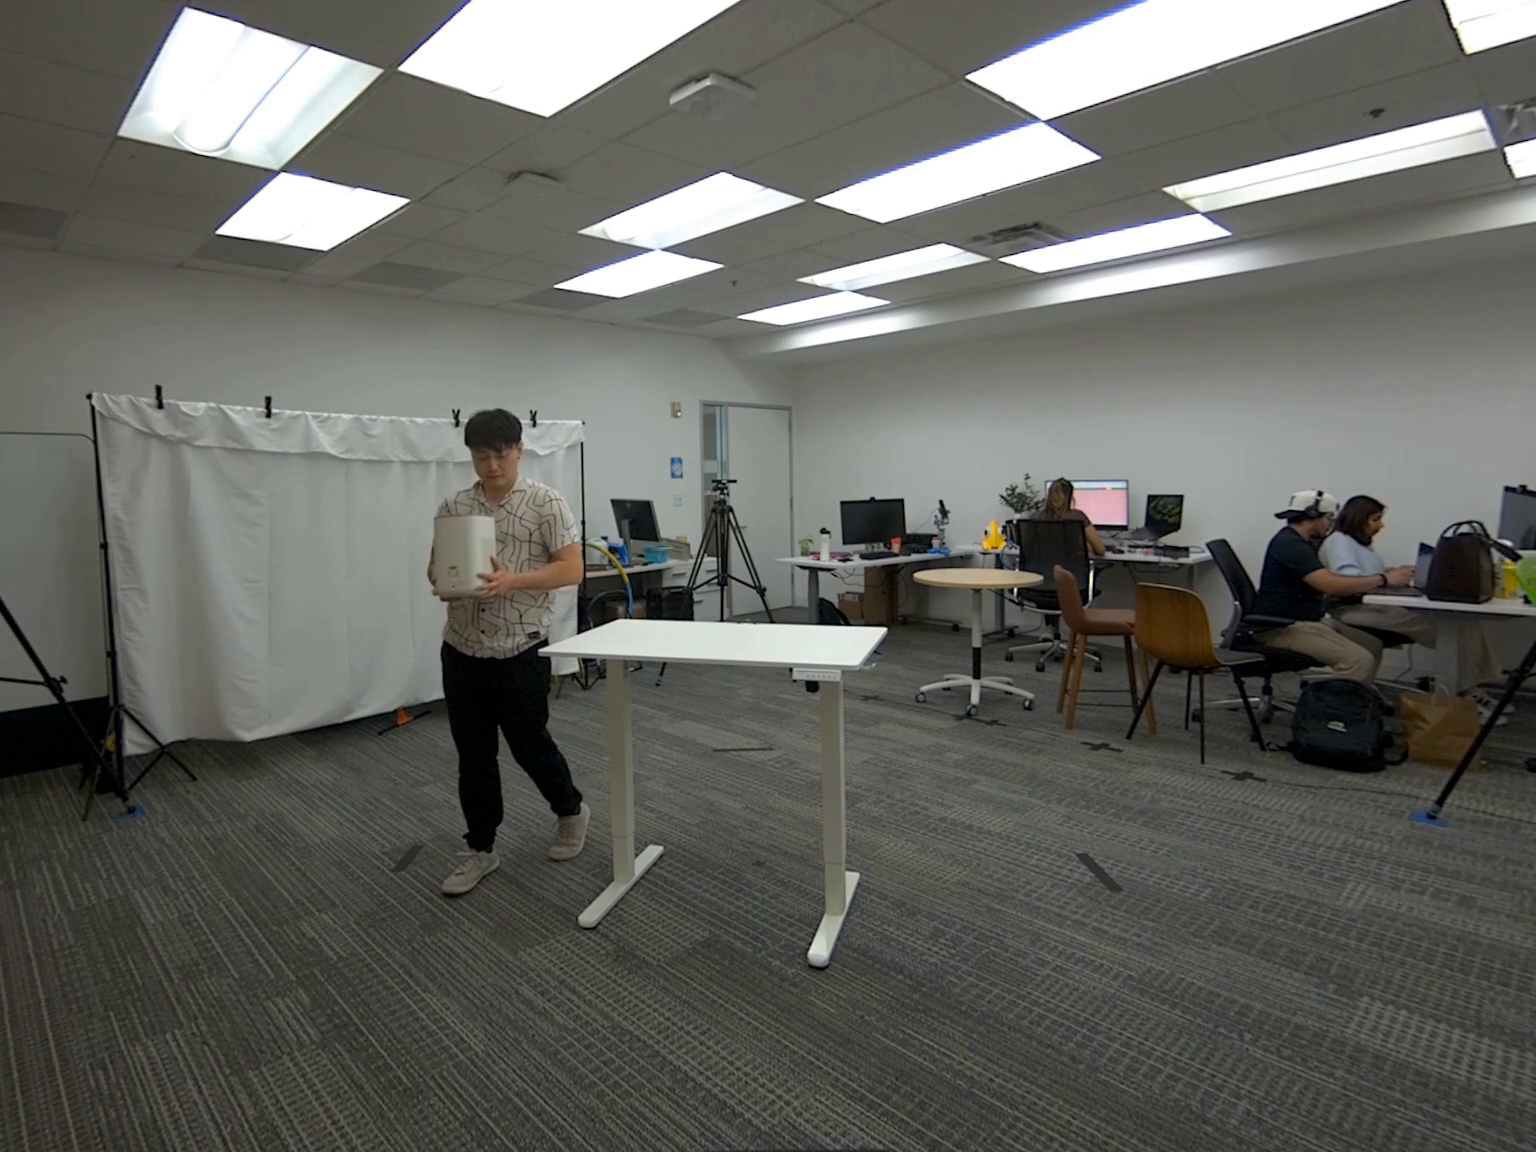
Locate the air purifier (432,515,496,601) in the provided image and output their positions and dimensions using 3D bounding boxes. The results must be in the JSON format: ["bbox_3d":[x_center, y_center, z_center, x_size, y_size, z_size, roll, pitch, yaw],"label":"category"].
[{"bbox_3d":[-1.003,-0.061,2.834,0.173,0.266,0.169,-5,-4,10],"label":"air purifier"}]
